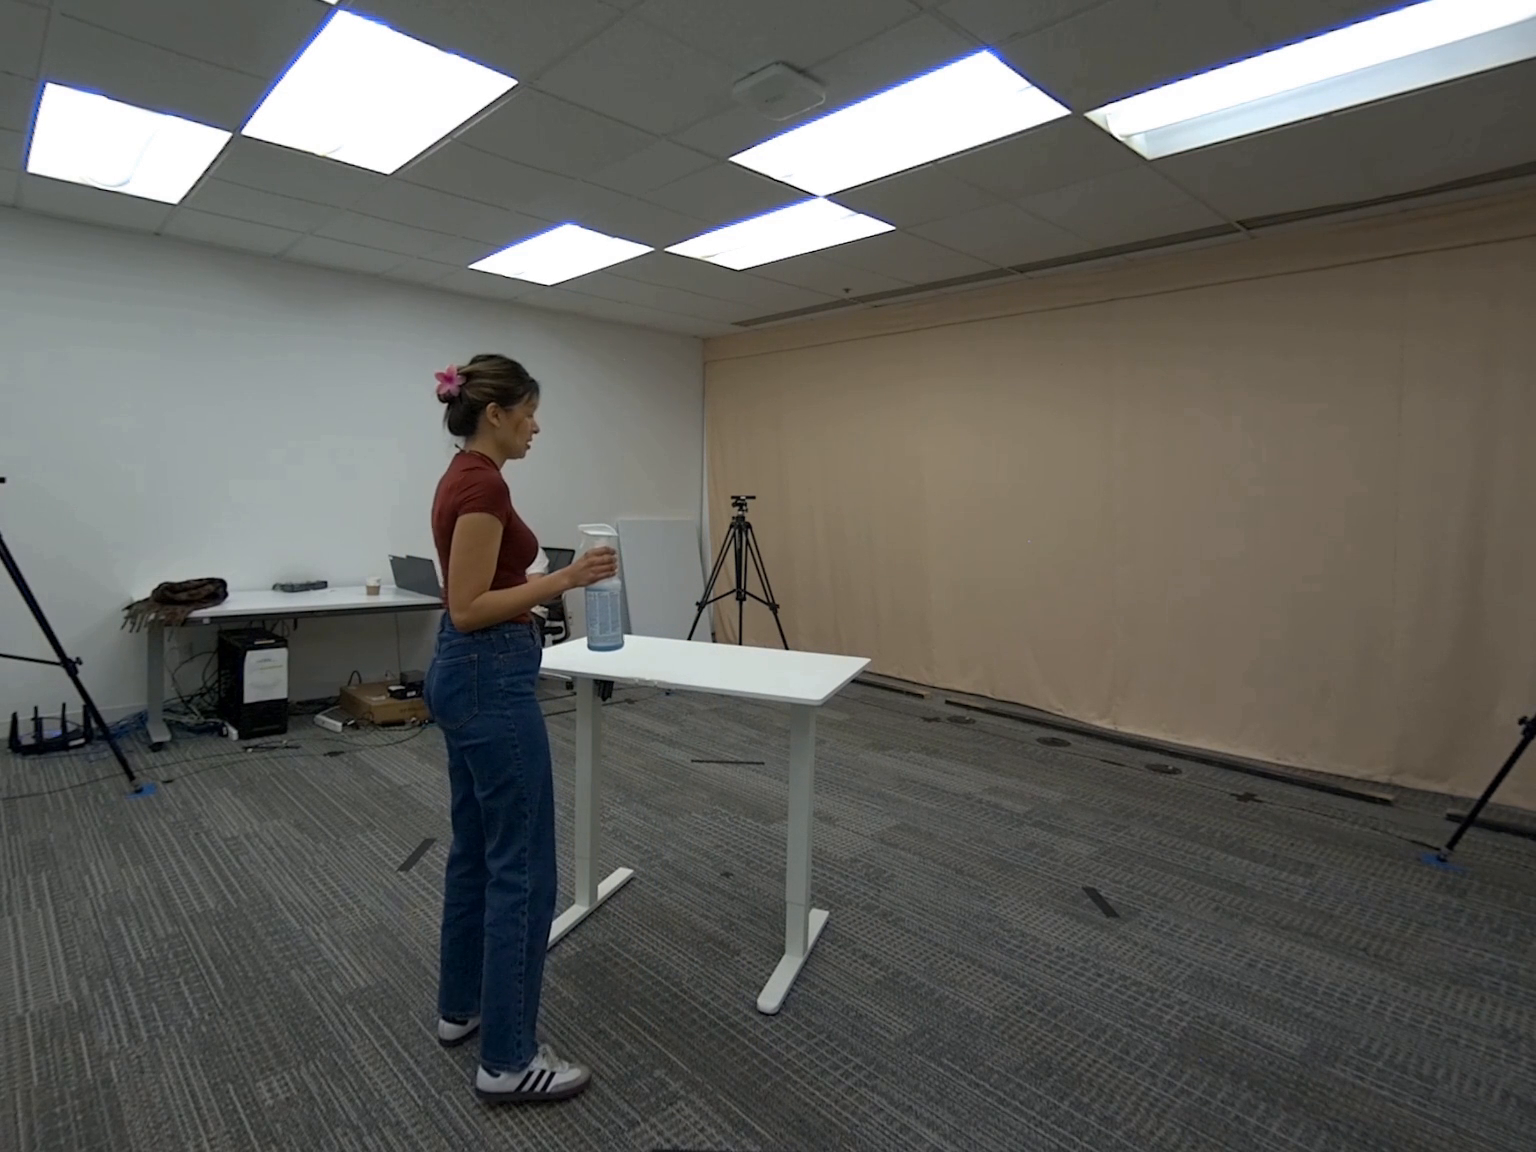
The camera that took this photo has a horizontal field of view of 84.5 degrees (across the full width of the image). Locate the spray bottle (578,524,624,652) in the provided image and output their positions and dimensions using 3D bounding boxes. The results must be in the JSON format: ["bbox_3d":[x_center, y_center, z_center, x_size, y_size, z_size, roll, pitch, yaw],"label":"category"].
[{"bbox_3d":[-0.399,0.029,1.952,0.091,0.296,0.086,-2,3,9],"label":"spray bottle"}]
